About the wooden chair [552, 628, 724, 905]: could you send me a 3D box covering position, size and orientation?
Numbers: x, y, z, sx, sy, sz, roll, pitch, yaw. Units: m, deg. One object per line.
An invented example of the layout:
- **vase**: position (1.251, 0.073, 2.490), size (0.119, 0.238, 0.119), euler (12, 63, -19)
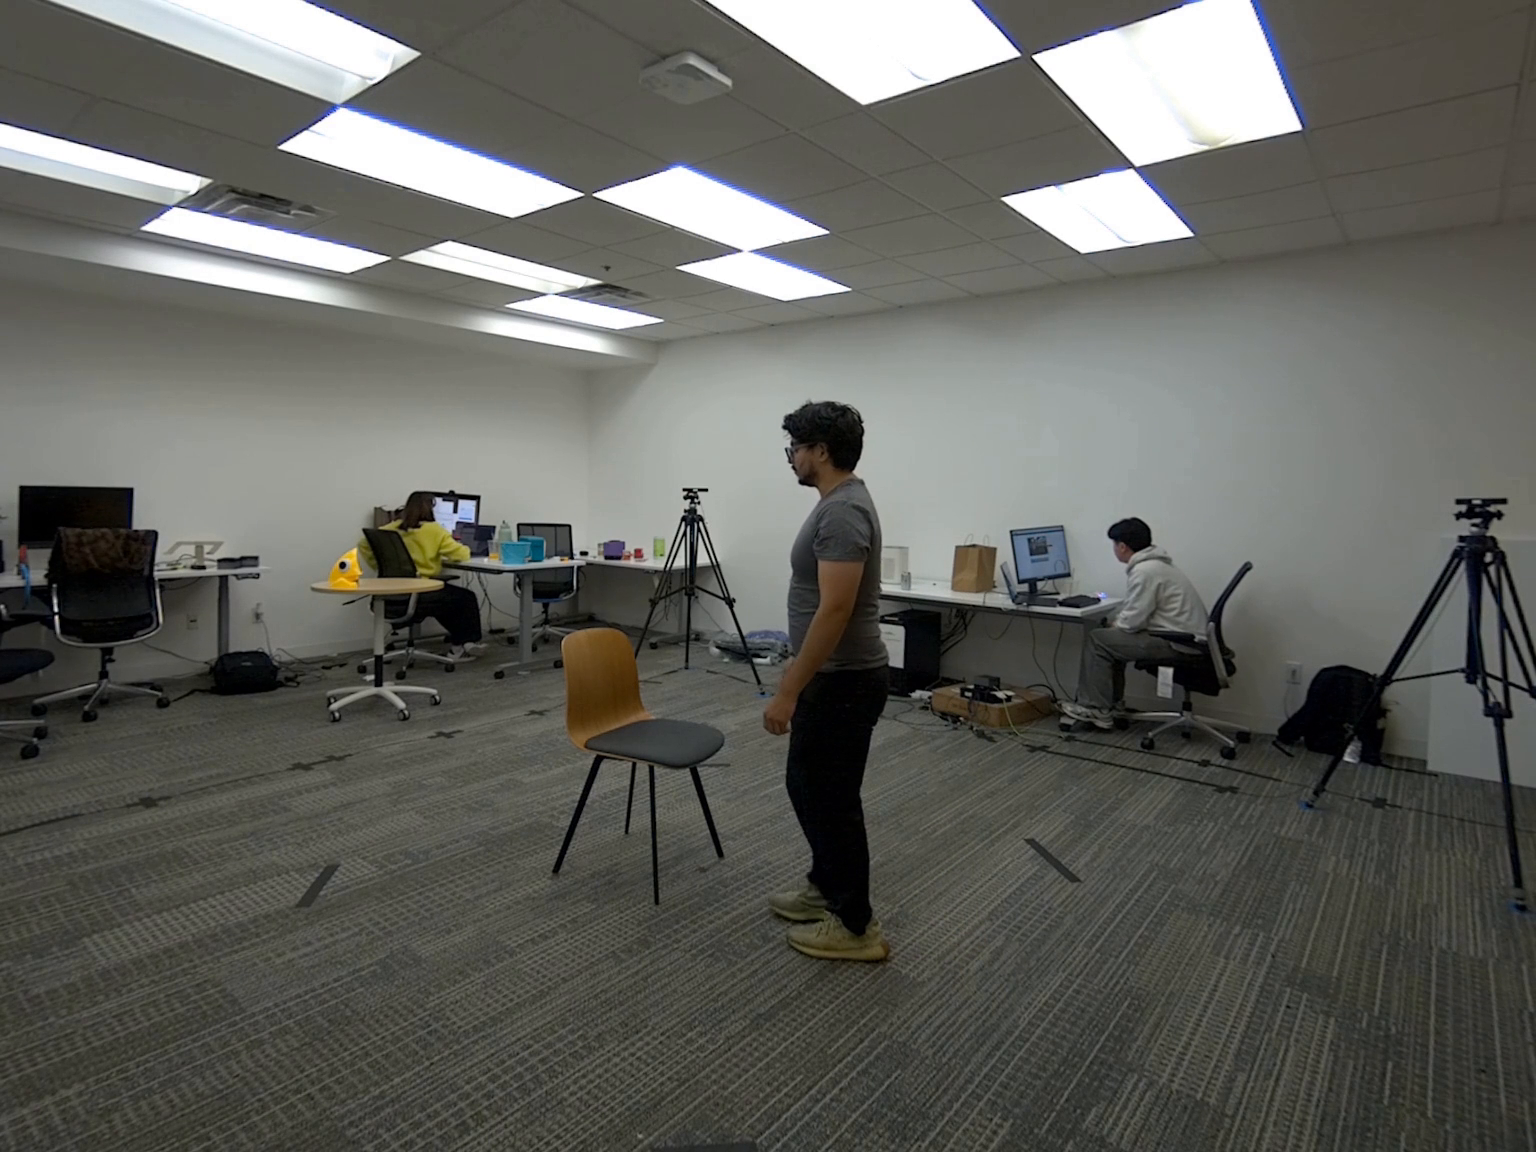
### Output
- **wooden chair**: position (-0.461, 0.638, 3.104), size (0.537, 0.877, 0.466), euler (-2, 1, 28)
